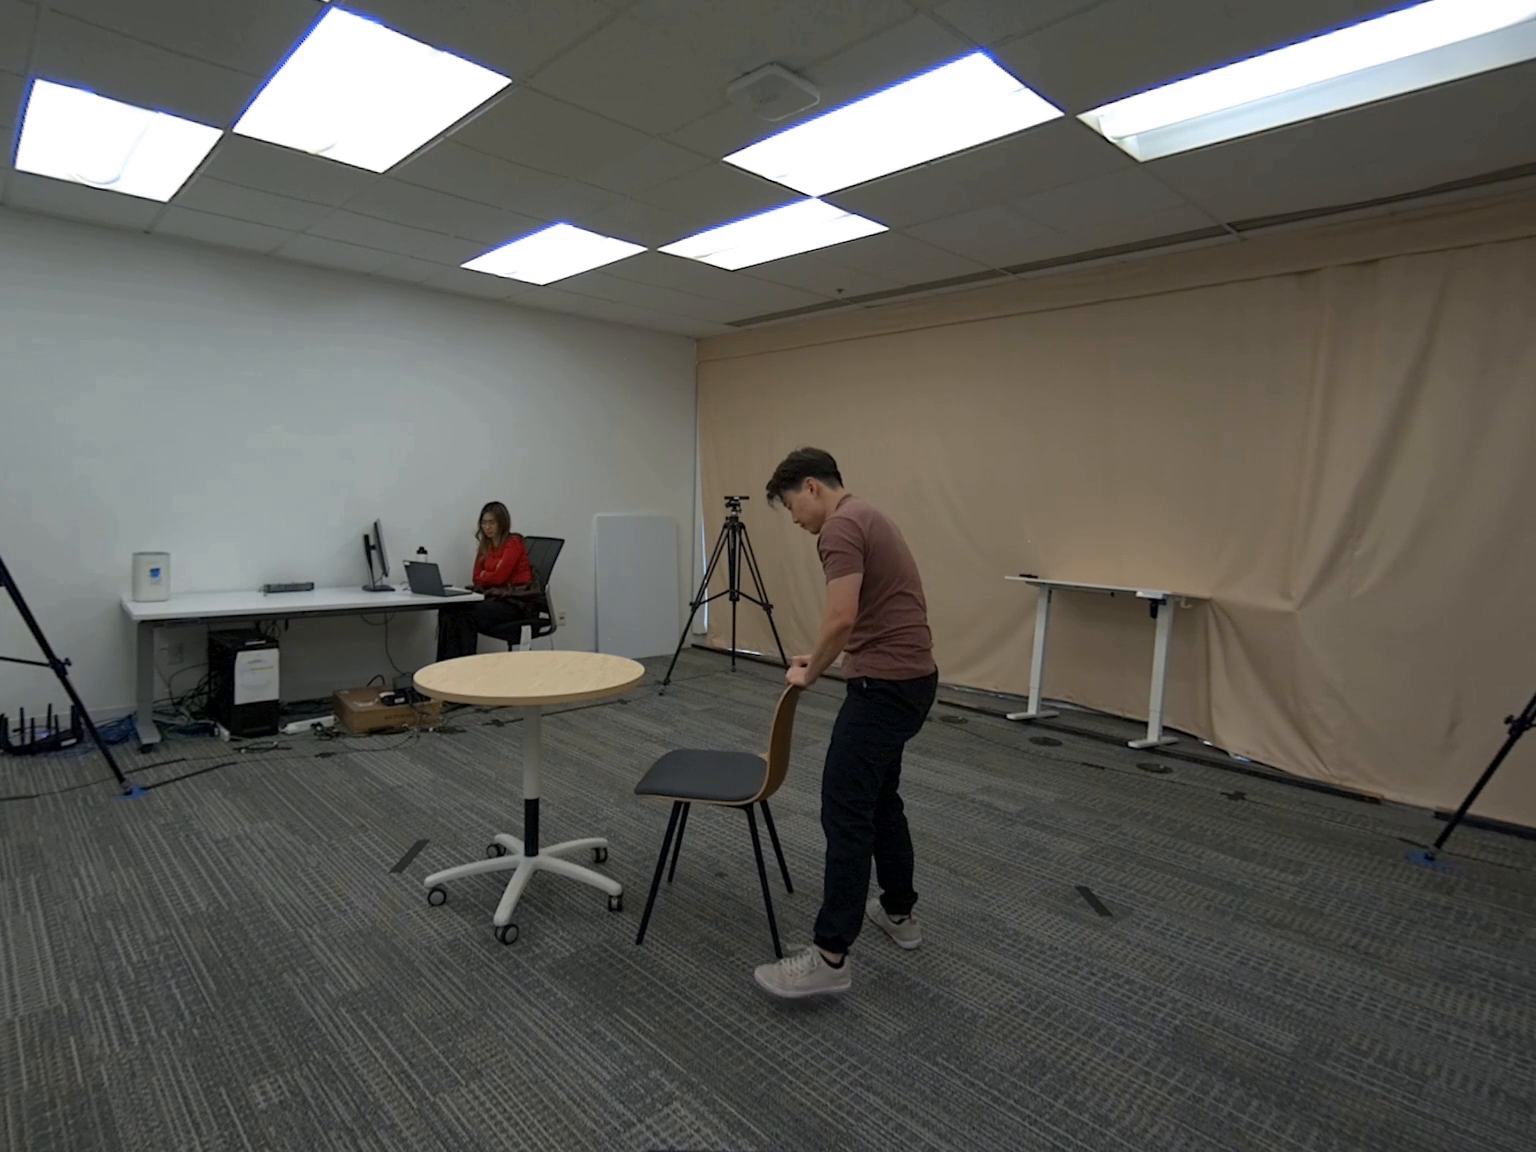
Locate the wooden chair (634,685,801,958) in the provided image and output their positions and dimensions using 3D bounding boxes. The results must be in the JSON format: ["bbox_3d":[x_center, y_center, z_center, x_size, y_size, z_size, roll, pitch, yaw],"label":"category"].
[{"bbox_3d":[-0.161,0.706,2.759,0.527,0.874,0.476,6,5,8],"label":"wooden chair"}]
